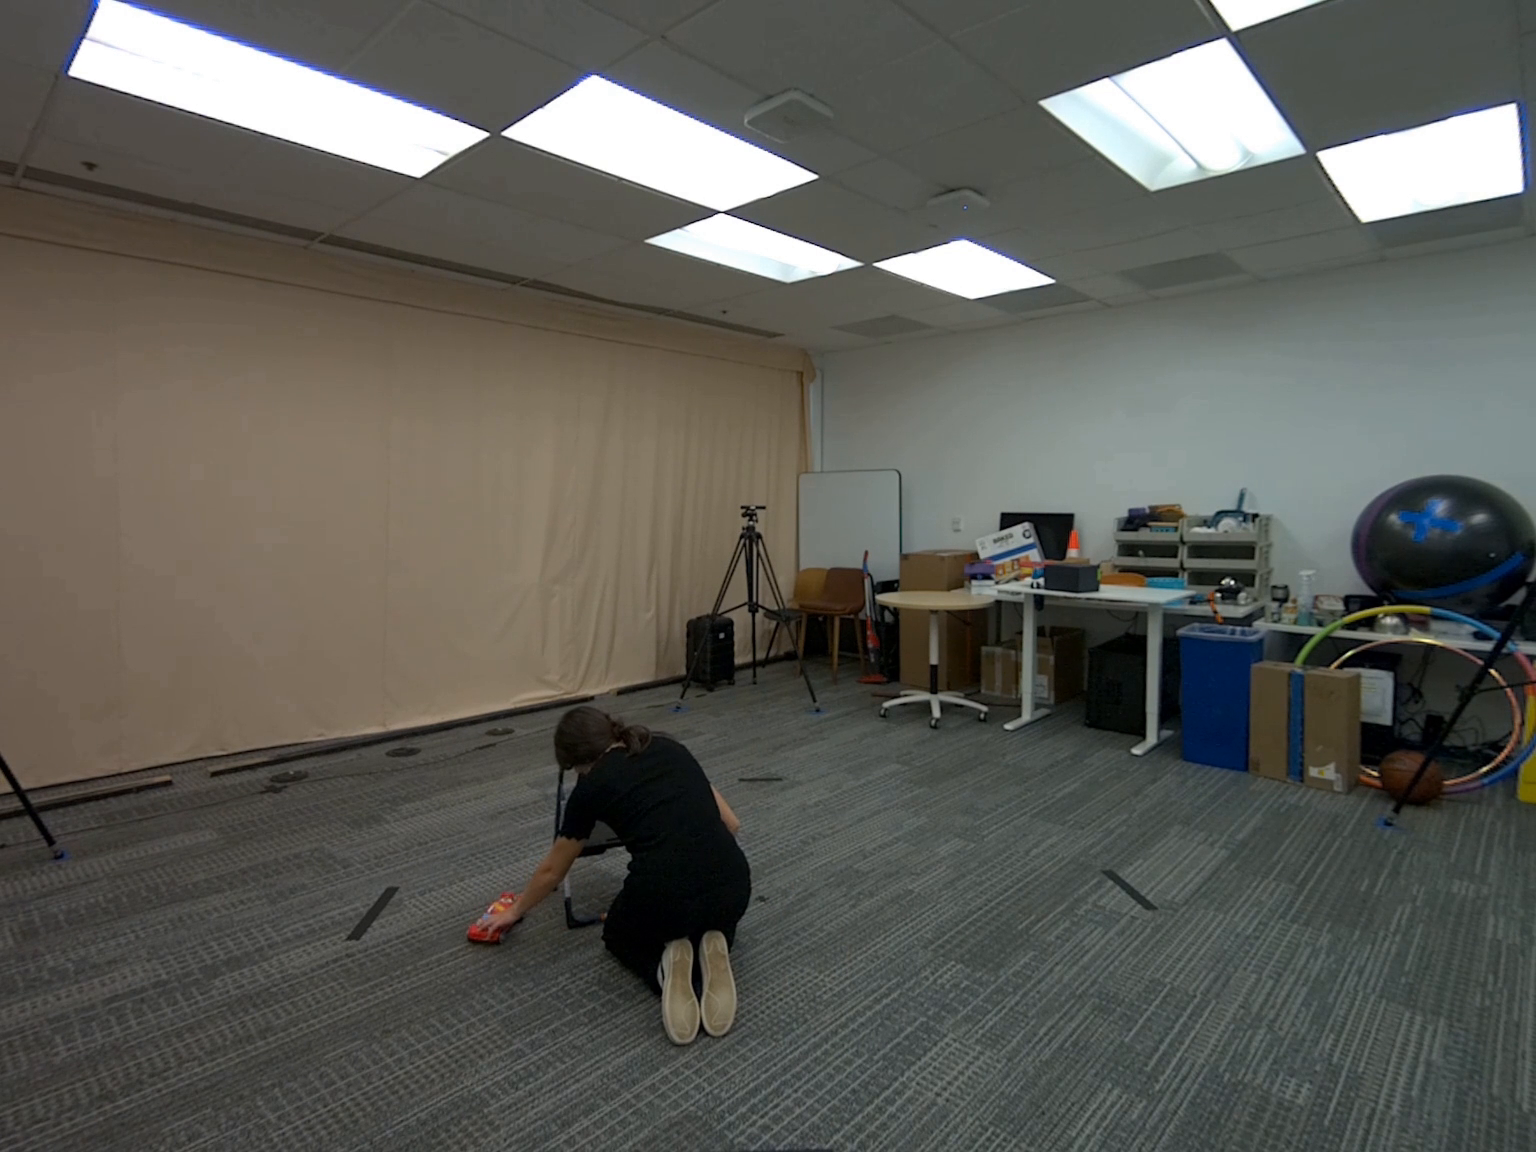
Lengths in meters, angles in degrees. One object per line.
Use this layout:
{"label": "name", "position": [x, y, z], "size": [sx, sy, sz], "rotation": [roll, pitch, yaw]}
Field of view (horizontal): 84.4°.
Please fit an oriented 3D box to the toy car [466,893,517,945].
{"label": "toy car", "position": [-0.891, 1.140, 2.789], "size": [0.132, 0.082, 0.254], "rotation": [-2, 16, 9]}
